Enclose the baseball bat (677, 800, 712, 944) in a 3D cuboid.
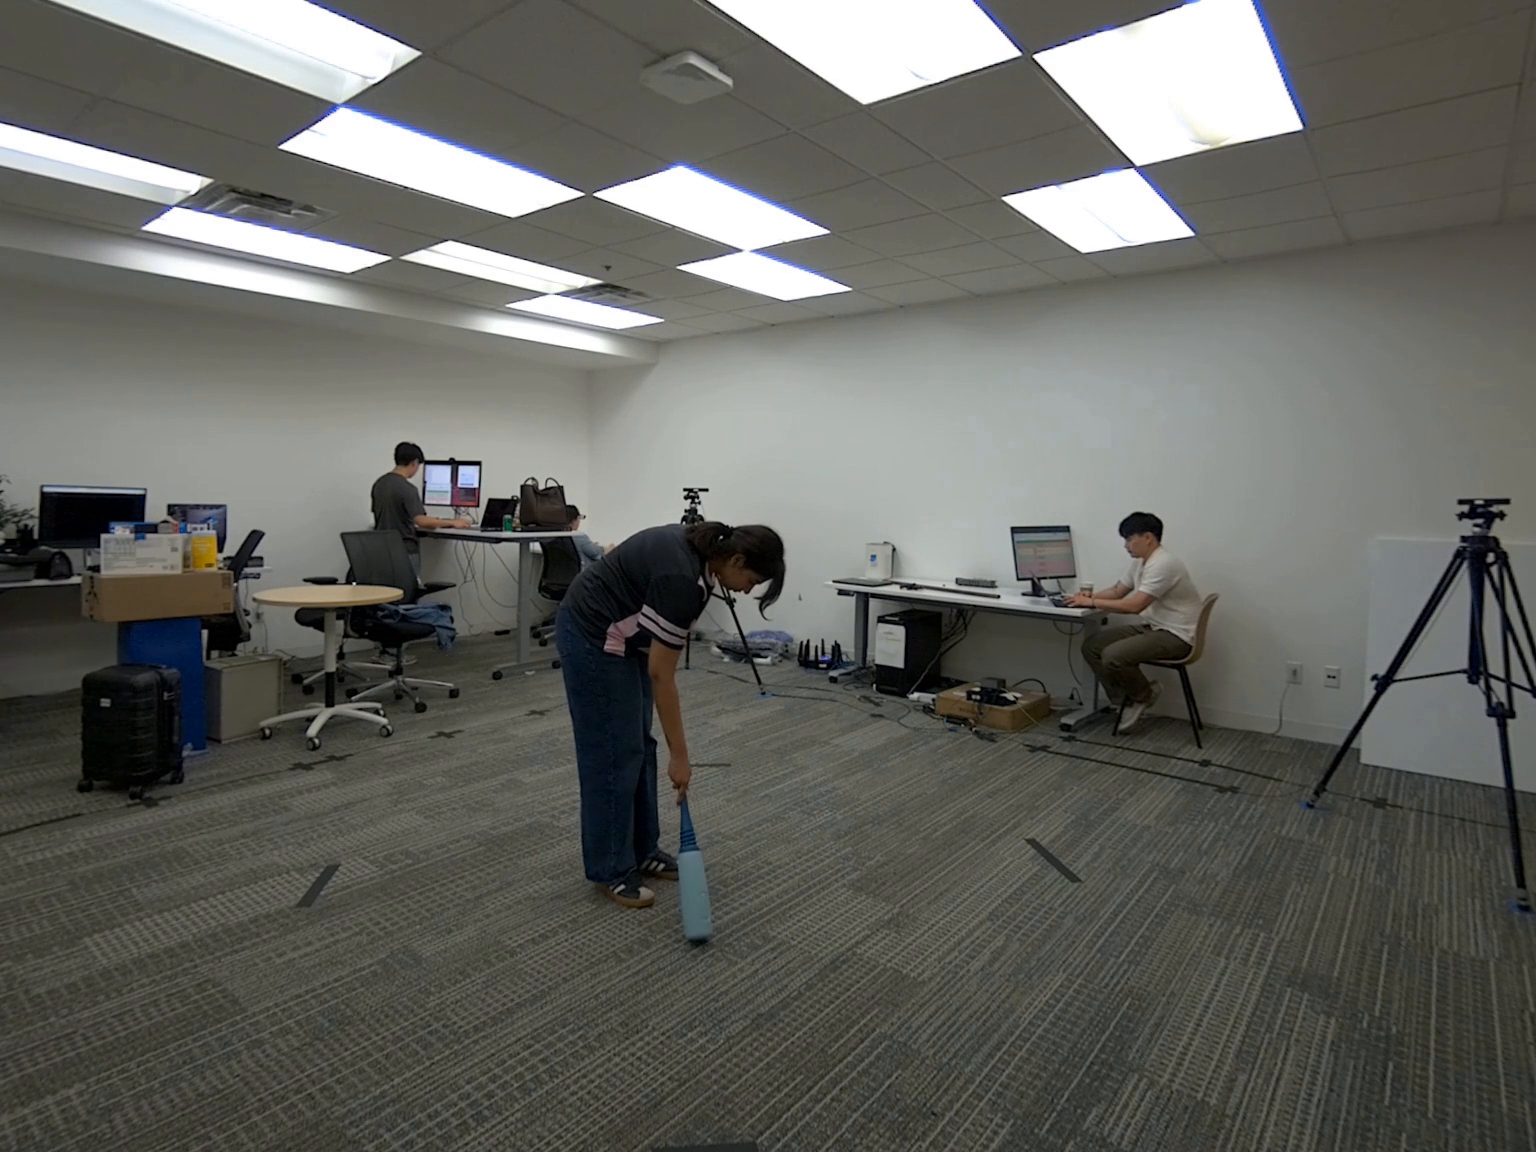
[{"bbox_3d":[-0.254,0.864,2.713,0.089,0.558,0.087,-7,-26,-5],"label":"baseball bat"}]
